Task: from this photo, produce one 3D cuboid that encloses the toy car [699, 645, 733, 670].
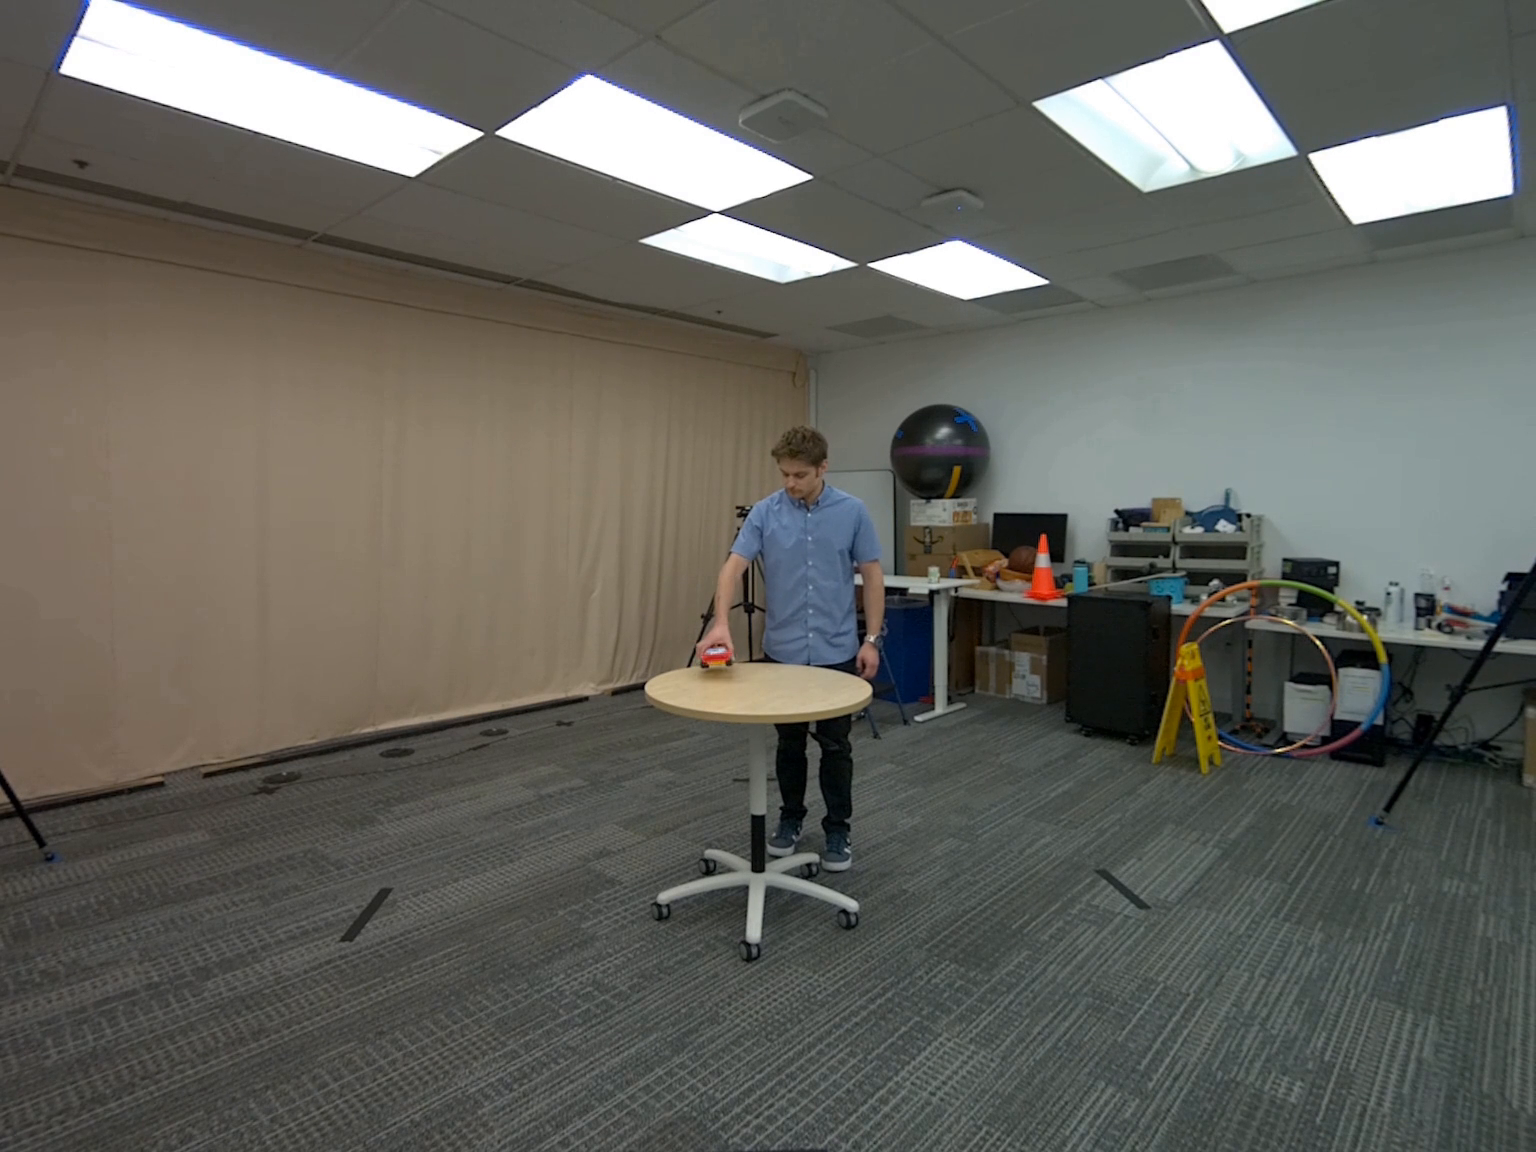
[{"bbox_3d":[-0.180,0.298,3.039,0.130,0.083,0.256,-6,6,-2],"label":"toy car"}]
